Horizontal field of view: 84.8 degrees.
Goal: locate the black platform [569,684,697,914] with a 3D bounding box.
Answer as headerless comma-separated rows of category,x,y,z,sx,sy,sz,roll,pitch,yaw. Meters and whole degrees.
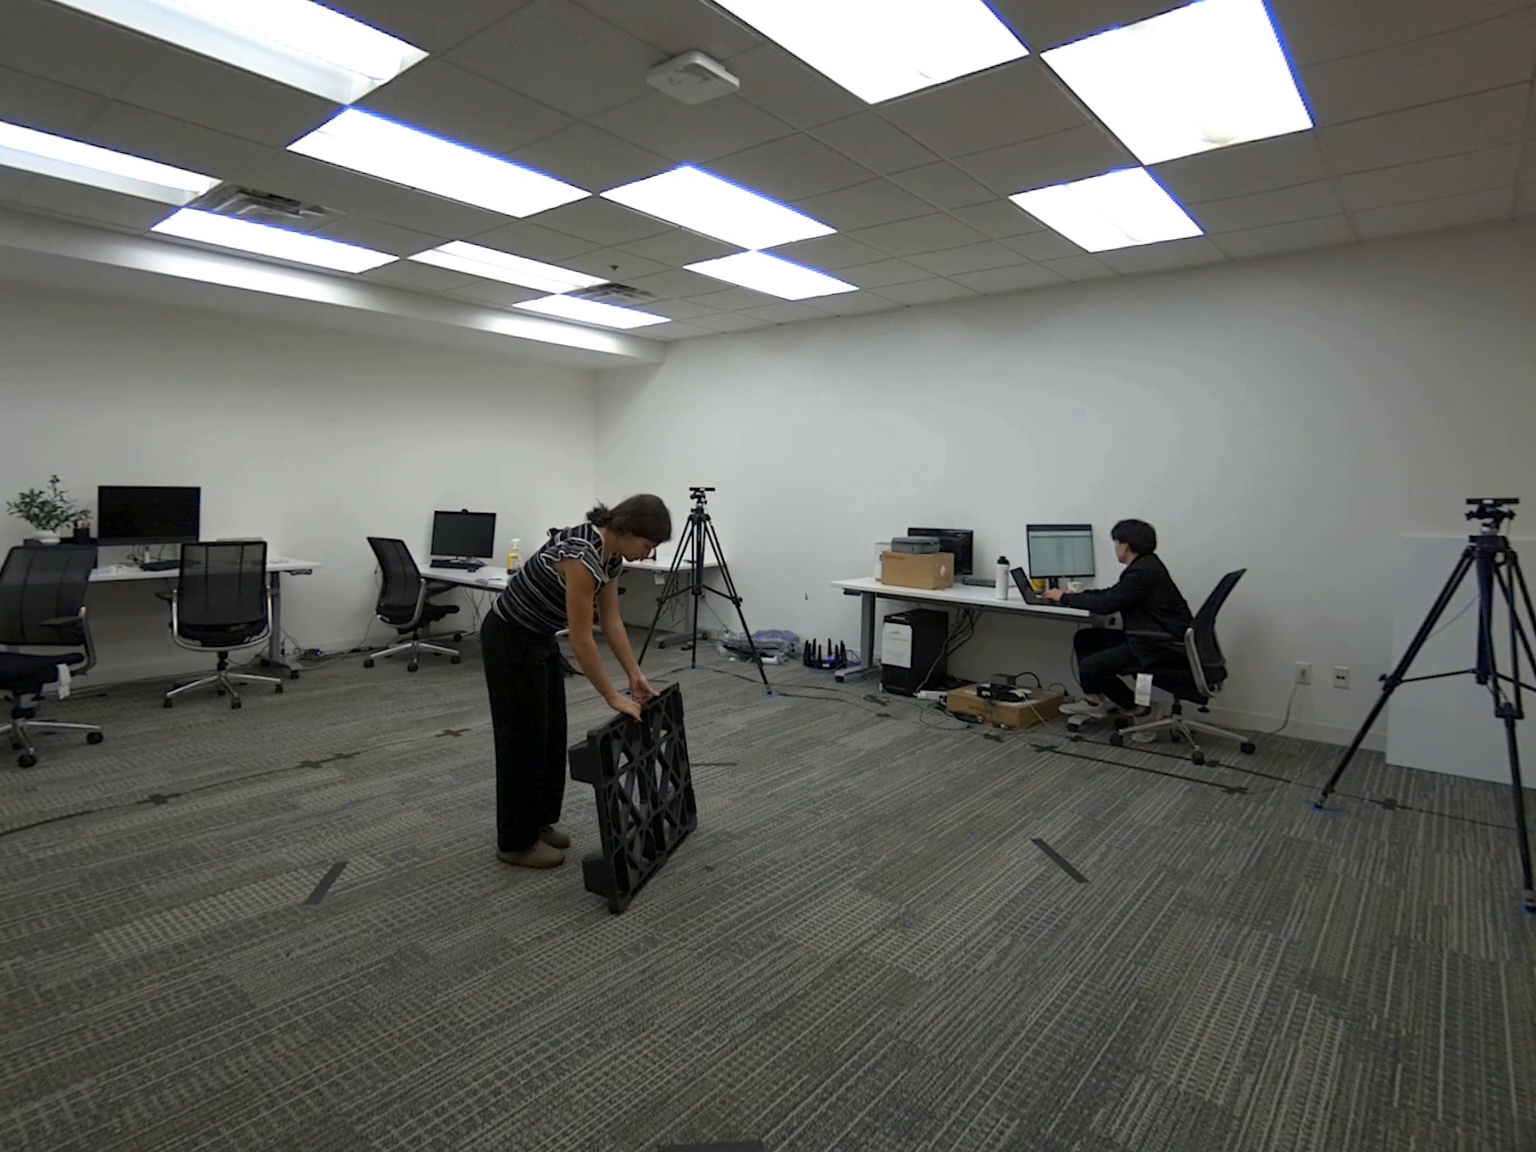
black platform,-0.493,0.773,3.145,0.145,0.604,0.795,-7,2,14
